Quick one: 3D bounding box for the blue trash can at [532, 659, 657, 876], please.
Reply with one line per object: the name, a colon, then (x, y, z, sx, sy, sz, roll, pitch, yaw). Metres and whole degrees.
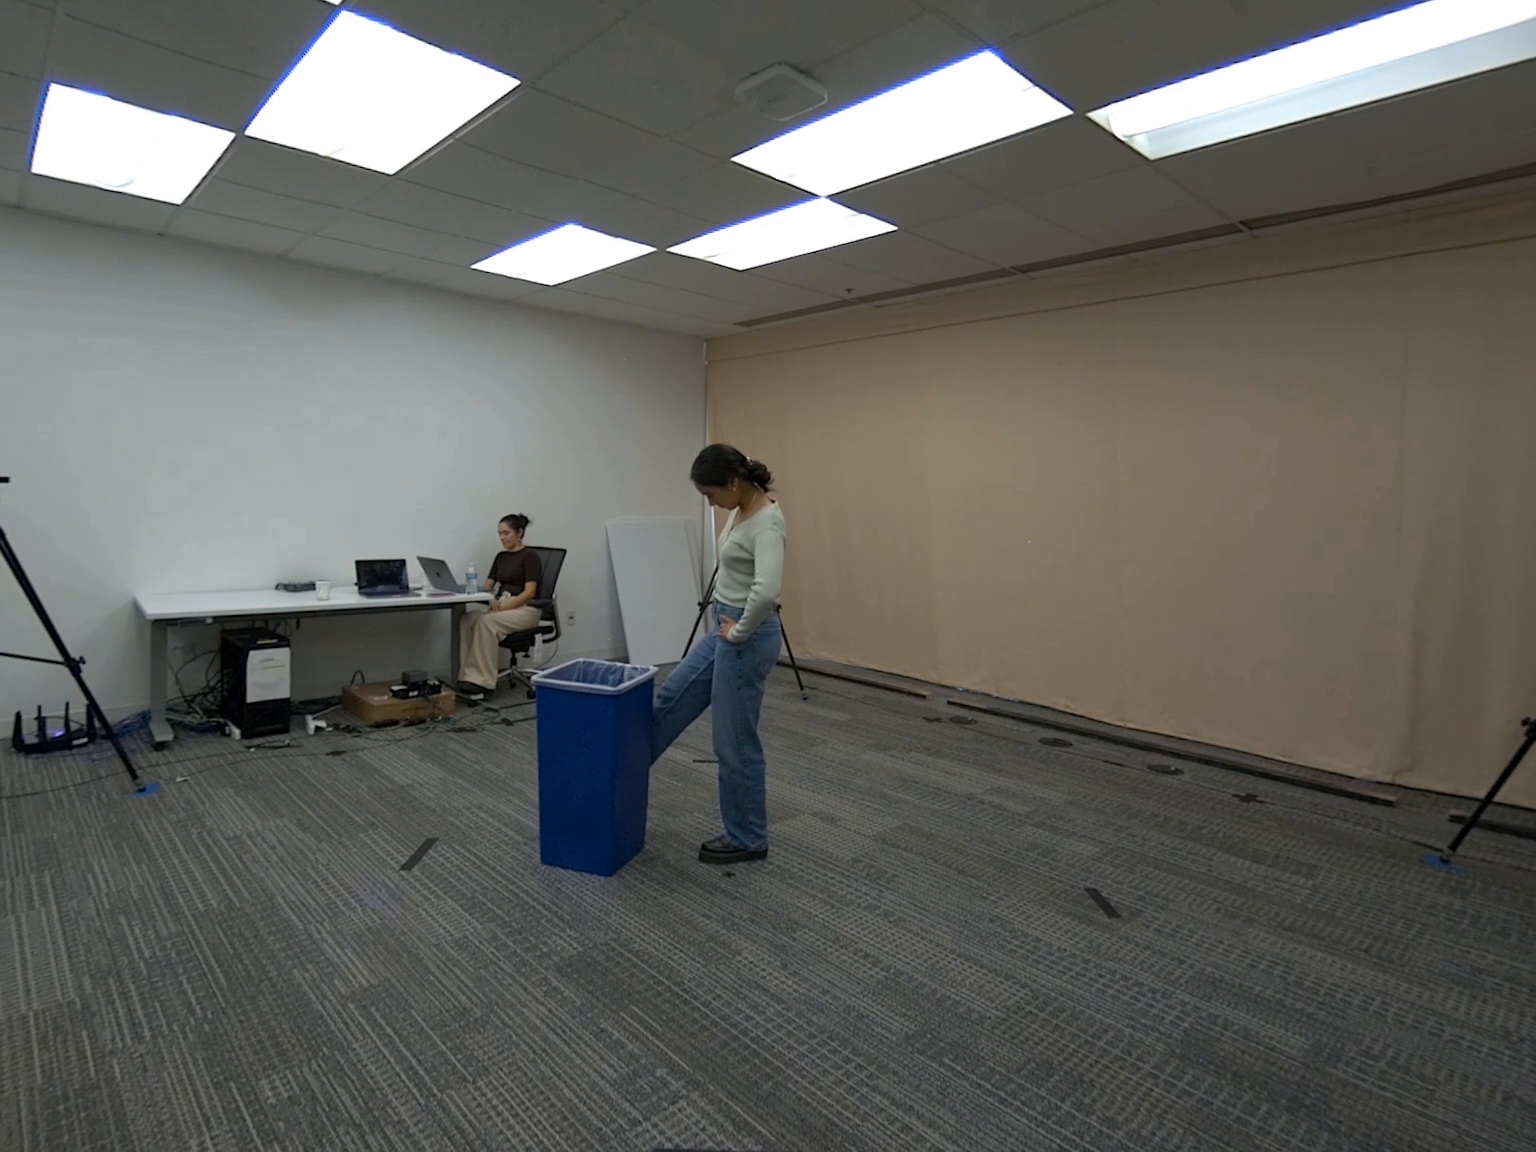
blue trash can: (-0.670, 0.720, 3.208, 0.380, 0.711, 0.373, 4, 5, 18)
